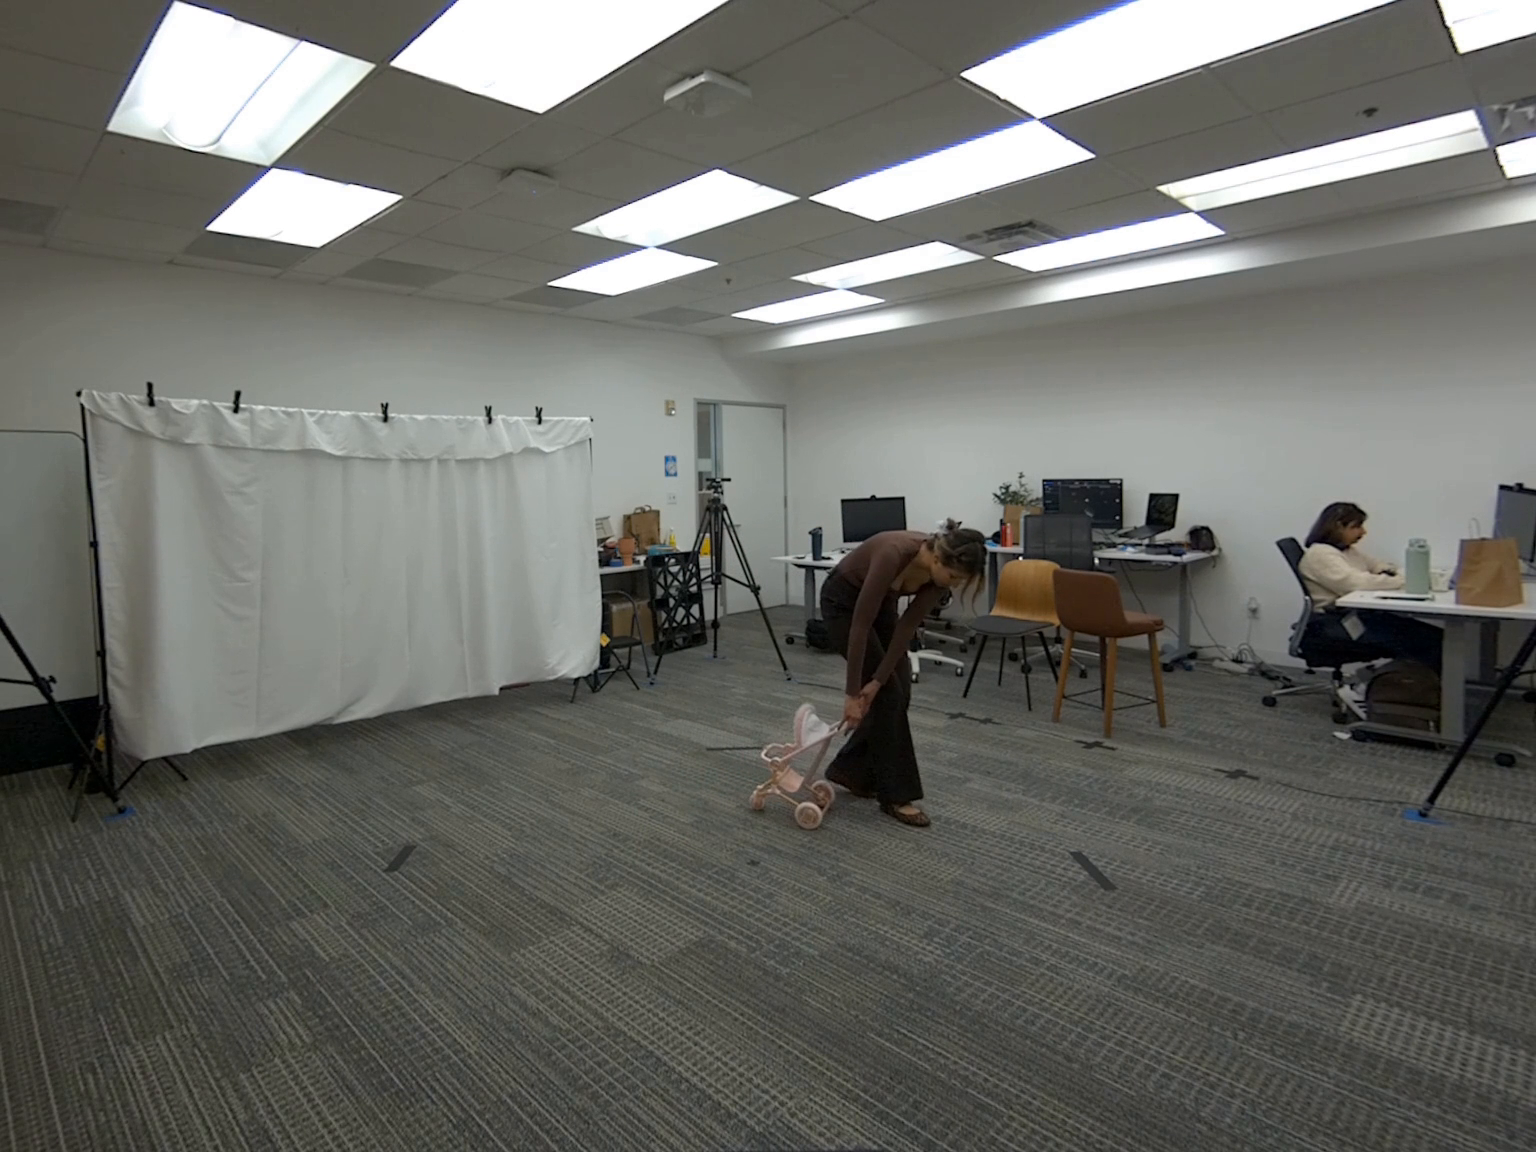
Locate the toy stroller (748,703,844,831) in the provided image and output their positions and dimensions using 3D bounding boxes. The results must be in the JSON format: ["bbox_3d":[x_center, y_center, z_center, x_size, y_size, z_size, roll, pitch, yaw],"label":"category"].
[{"bbox_3d":[0.142,0.765,3.522,0.350,0.531,0.276,19,11,21],"label":"toy stroller"}]
